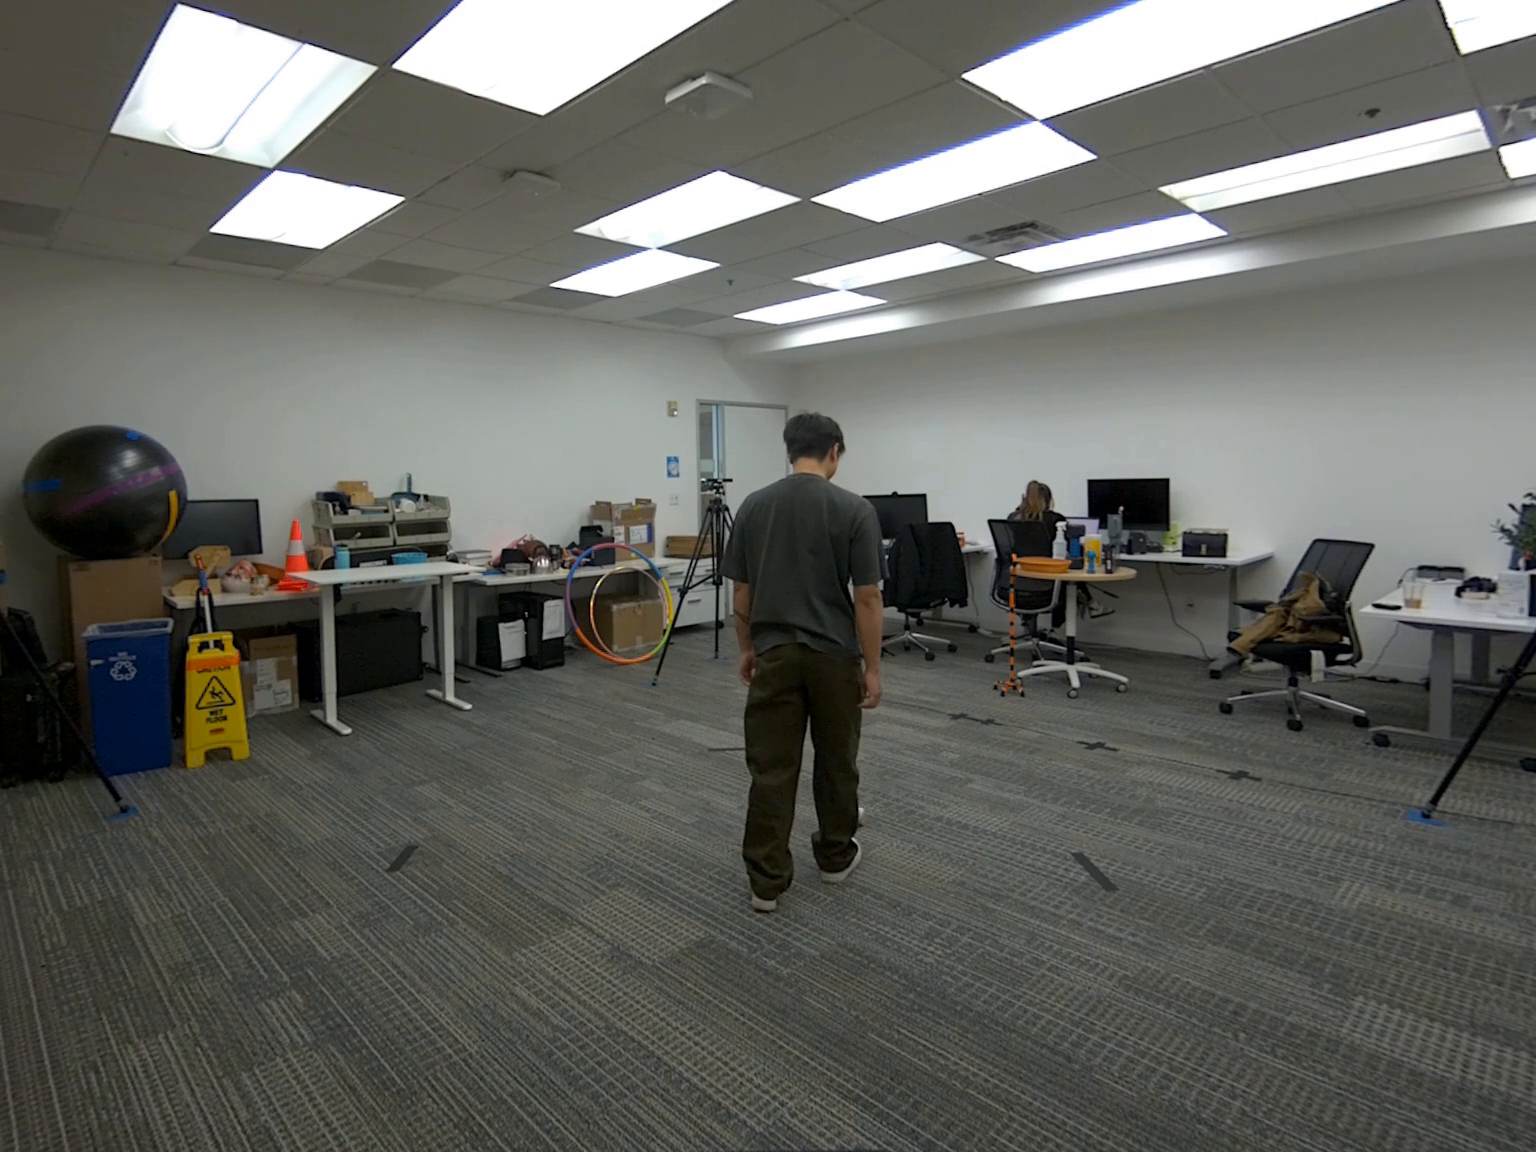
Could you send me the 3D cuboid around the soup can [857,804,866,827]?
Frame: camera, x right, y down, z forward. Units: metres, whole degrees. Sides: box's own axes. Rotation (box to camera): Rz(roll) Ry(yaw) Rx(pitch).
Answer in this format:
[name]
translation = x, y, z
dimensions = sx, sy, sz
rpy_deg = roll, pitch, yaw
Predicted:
[soup can]
translation = 0.340, 0.961, 3.442
dimensions = 0.123, 0.067, 0.066
rpy_deg = 0, 5, 13
